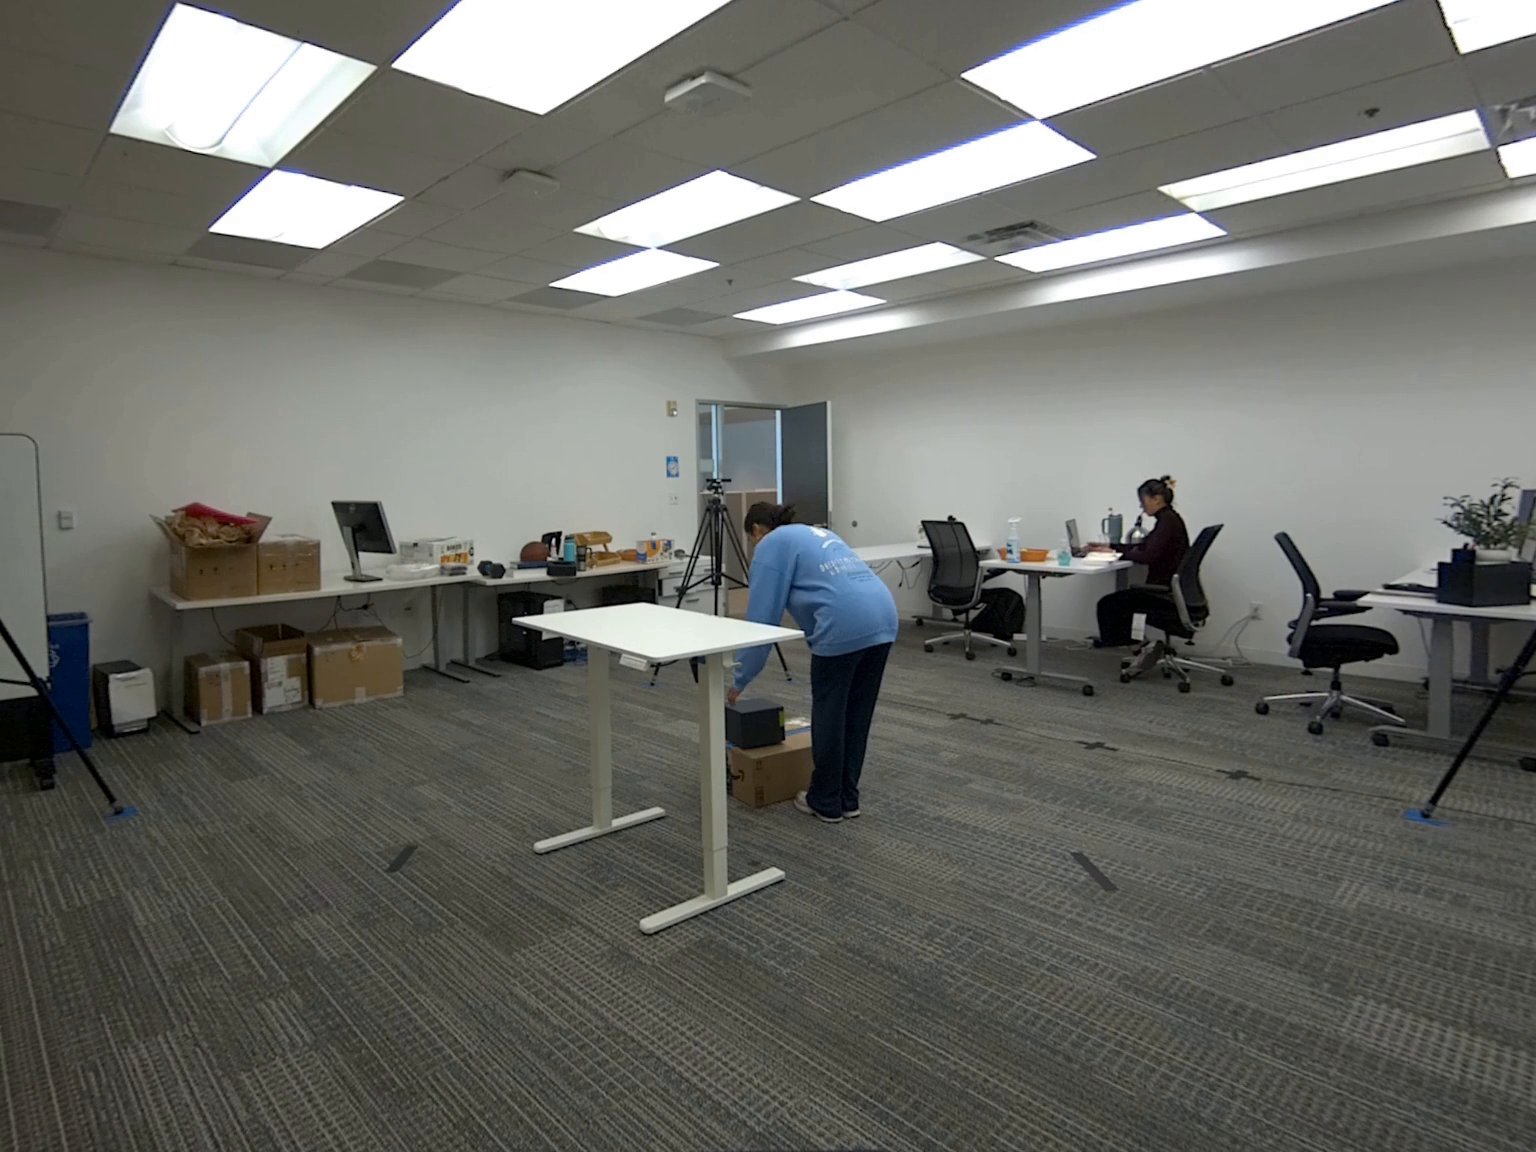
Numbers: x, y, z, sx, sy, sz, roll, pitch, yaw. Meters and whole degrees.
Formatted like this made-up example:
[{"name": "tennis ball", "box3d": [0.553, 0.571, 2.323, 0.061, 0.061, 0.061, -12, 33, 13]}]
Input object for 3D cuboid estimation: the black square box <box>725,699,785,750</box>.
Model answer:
[{"name": "black square box", "box3d": [-0.067, 0.655, 3.854, 0.212, 0.156, 0.233, -4, 3, -25]}]
